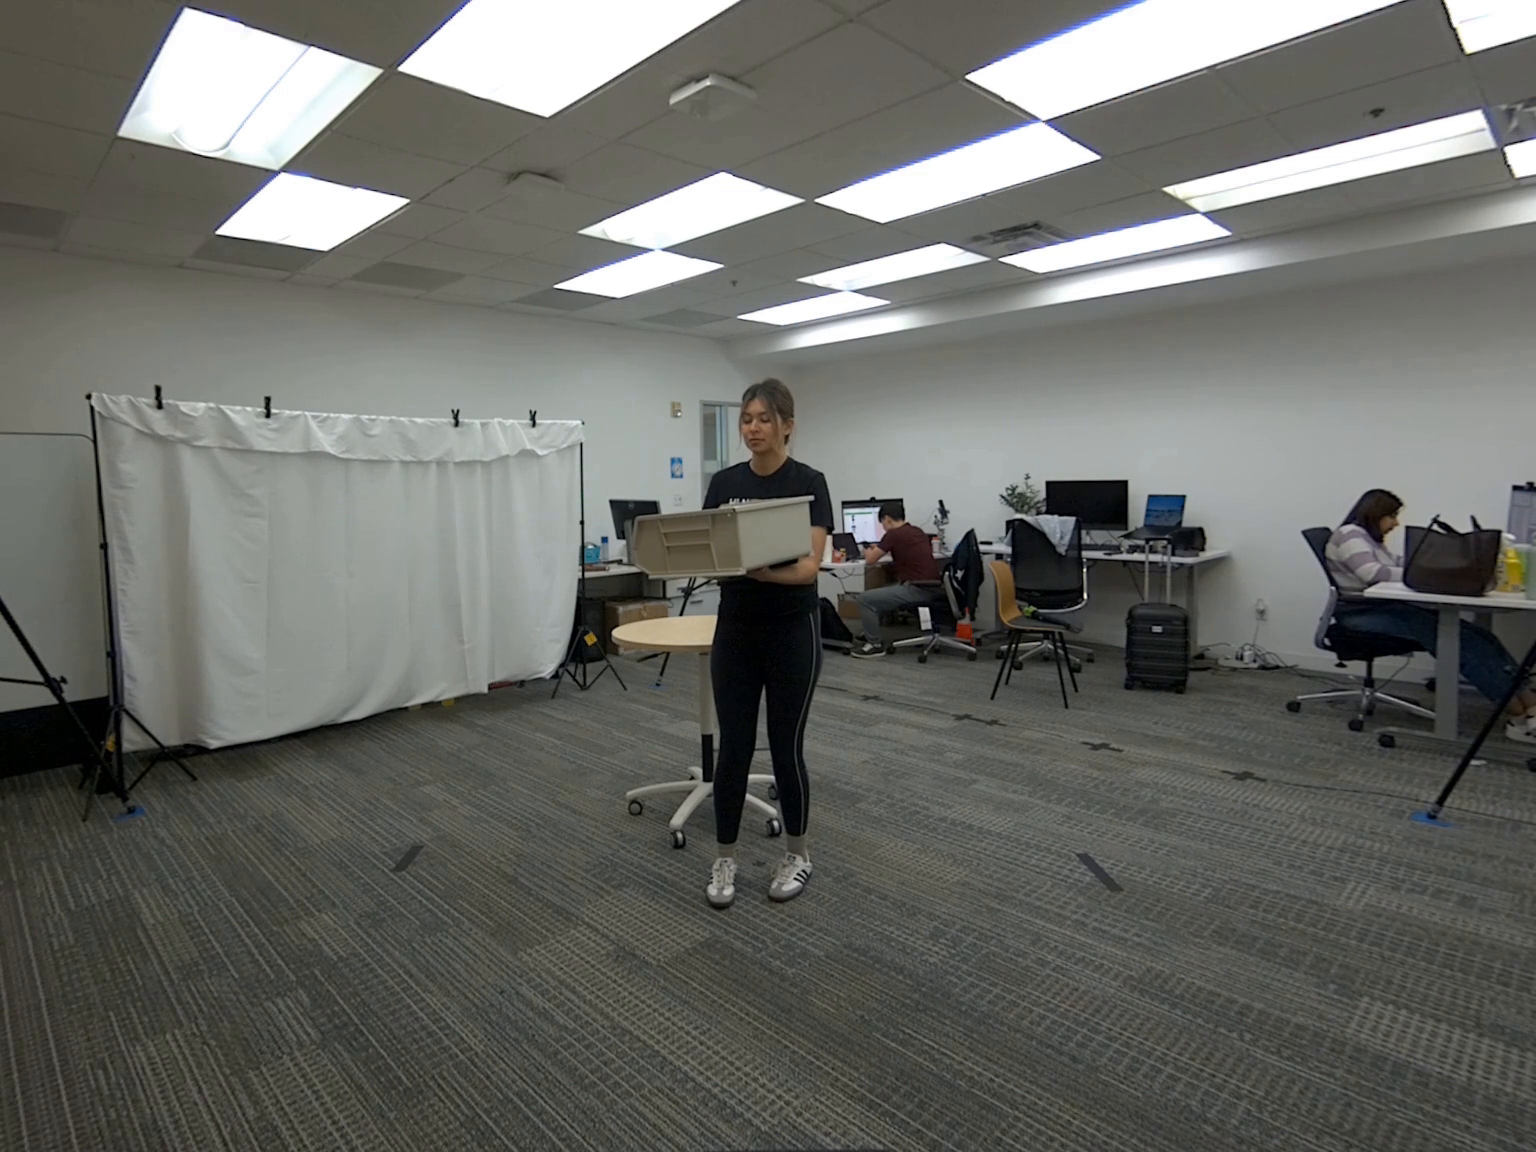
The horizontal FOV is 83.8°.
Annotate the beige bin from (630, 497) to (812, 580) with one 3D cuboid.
[{"bbox_3d":[-0.125,-0.112,2.493,0.387,0.188,0.413,-2,7,35],"label":"beige bin"}]
